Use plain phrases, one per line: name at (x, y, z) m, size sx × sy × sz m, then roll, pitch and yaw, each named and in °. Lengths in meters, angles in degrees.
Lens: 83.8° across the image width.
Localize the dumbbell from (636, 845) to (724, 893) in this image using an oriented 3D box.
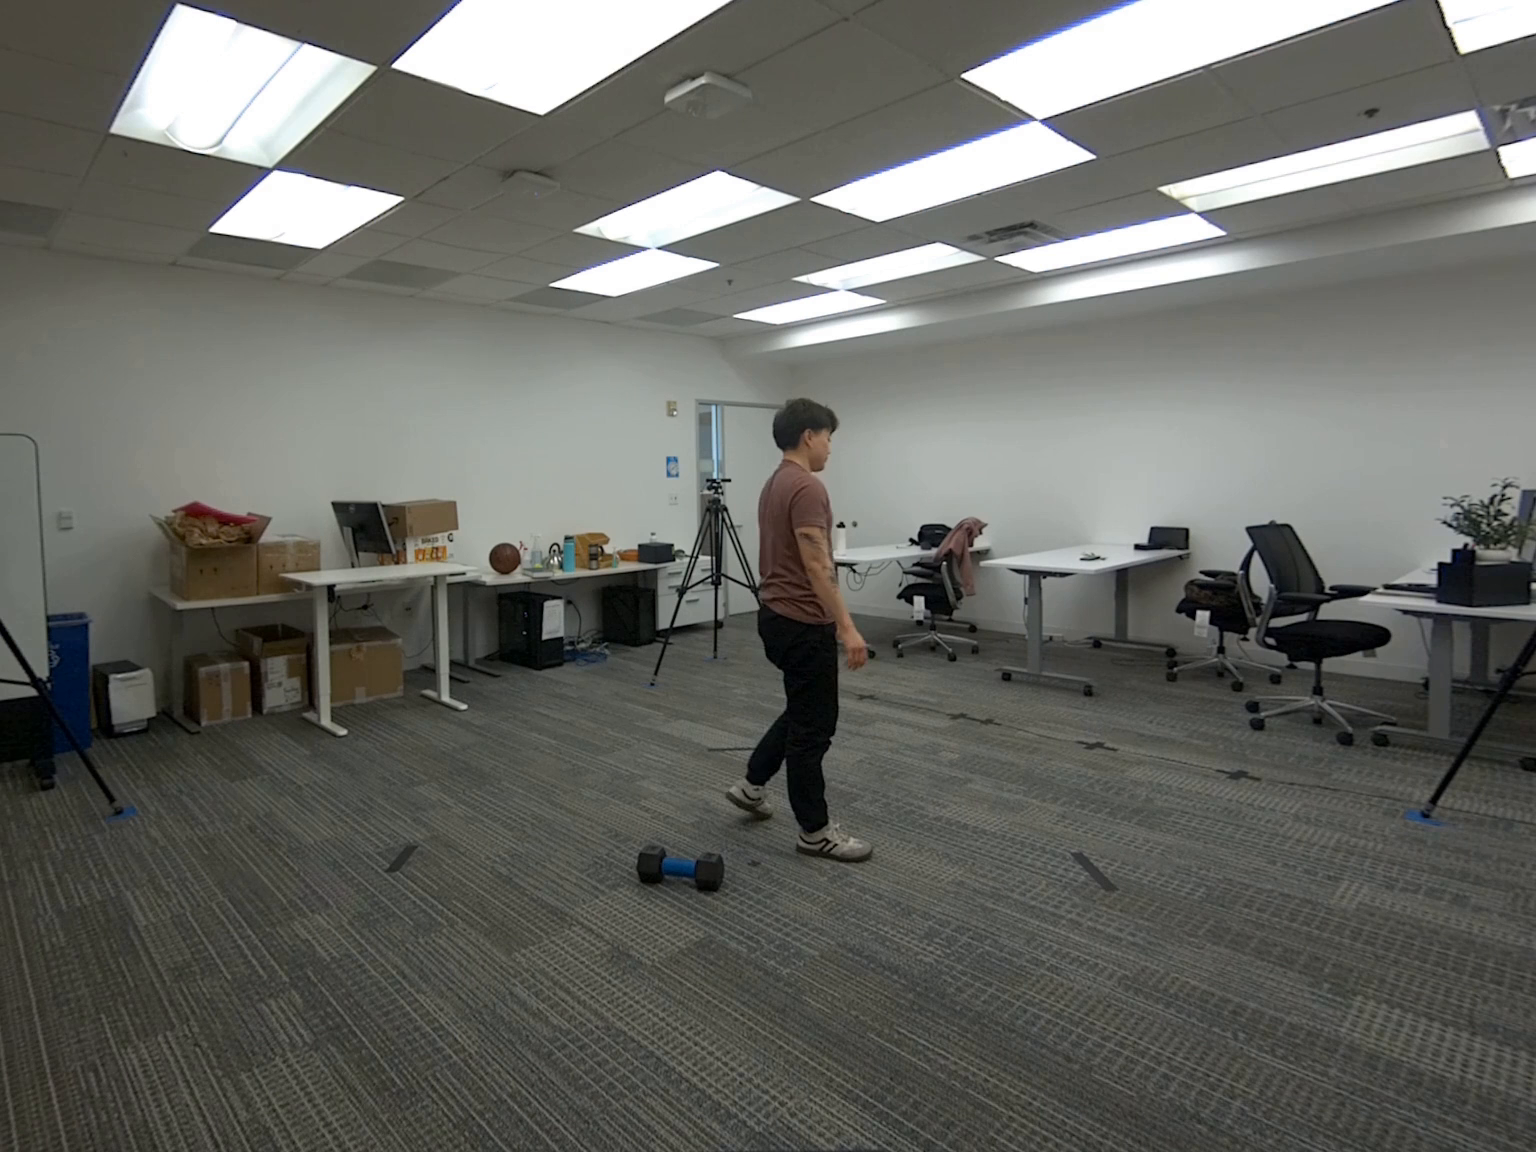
dumbbell at (-0.301, 1.011, 2.958) m, size 0.298 × 0.125 × 0.105 m, roll 1°, pitch -27°, yaw 17°
